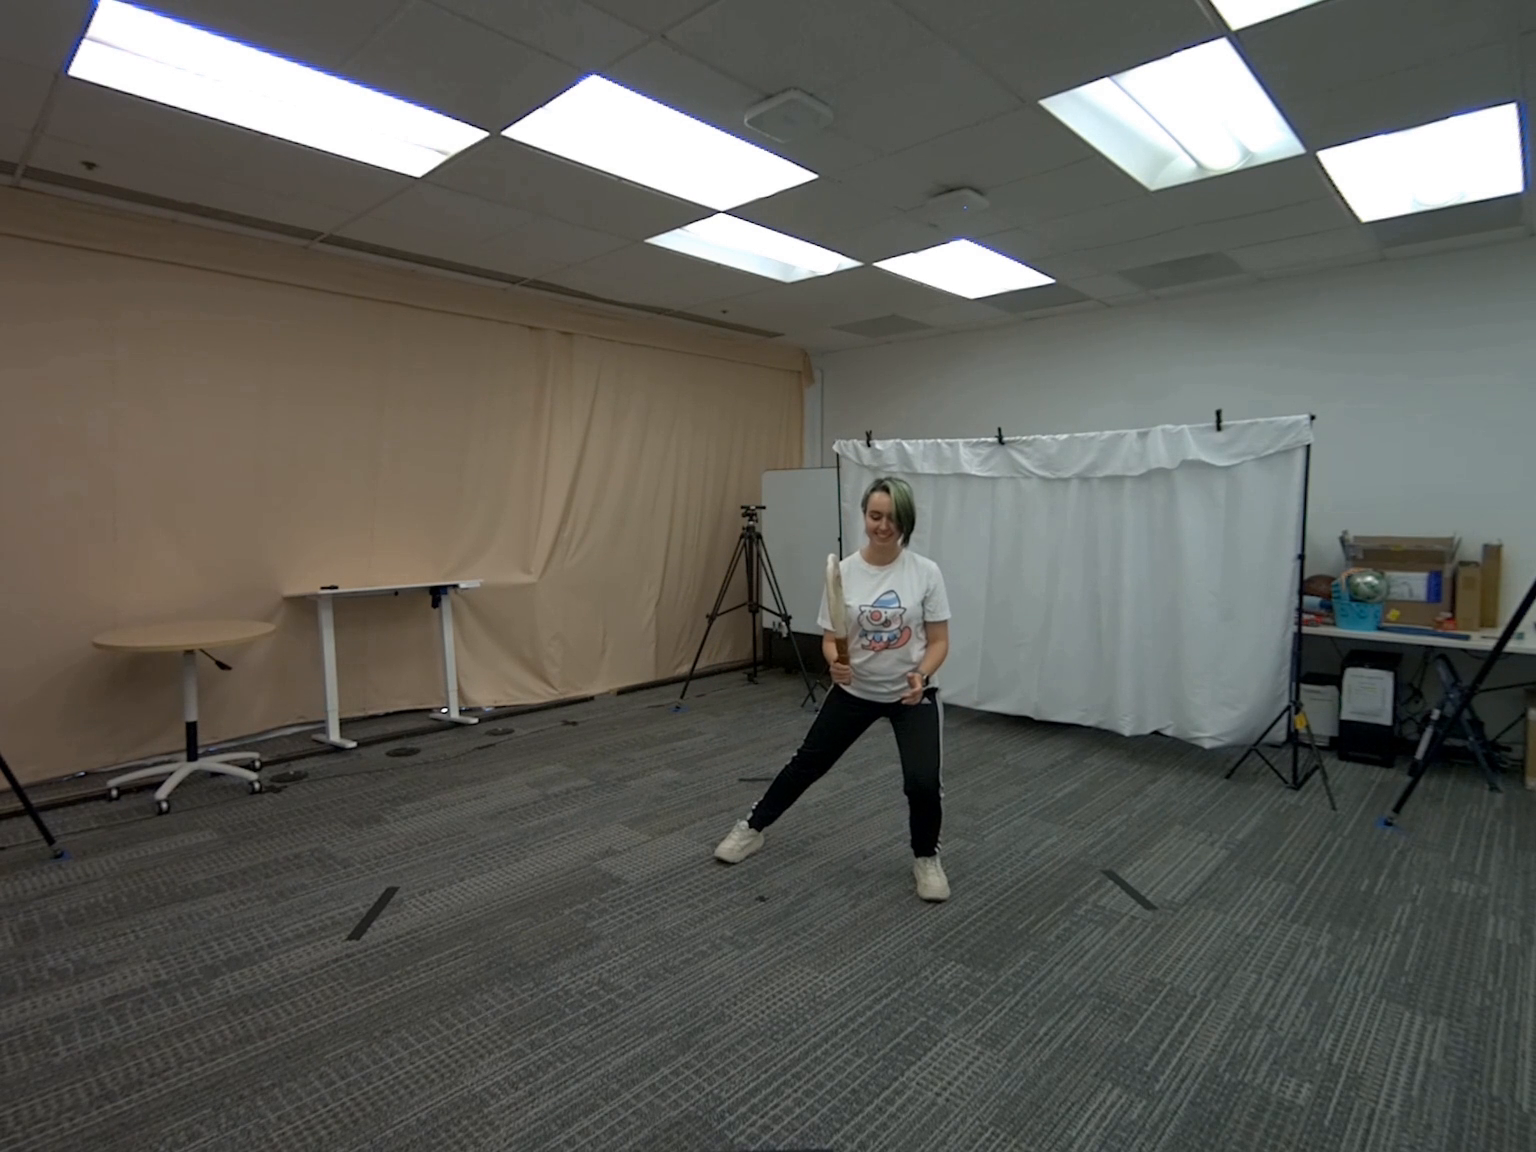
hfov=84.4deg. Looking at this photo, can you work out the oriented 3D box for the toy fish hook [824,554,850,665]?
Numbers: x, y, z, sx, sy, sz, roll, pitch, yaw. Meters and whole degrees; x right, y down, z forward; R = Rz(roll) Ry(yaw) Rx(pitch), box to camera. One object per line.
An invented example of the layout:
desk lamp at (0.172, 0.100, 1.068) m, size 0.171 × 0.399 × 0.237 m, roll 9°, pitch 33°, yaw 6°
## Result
toy fish hook at (0.236, 0.167, 2.700) m, size 0.049 × 0.496 × 0.225 m, roll -5°, pitch 27°, yaw 16°
